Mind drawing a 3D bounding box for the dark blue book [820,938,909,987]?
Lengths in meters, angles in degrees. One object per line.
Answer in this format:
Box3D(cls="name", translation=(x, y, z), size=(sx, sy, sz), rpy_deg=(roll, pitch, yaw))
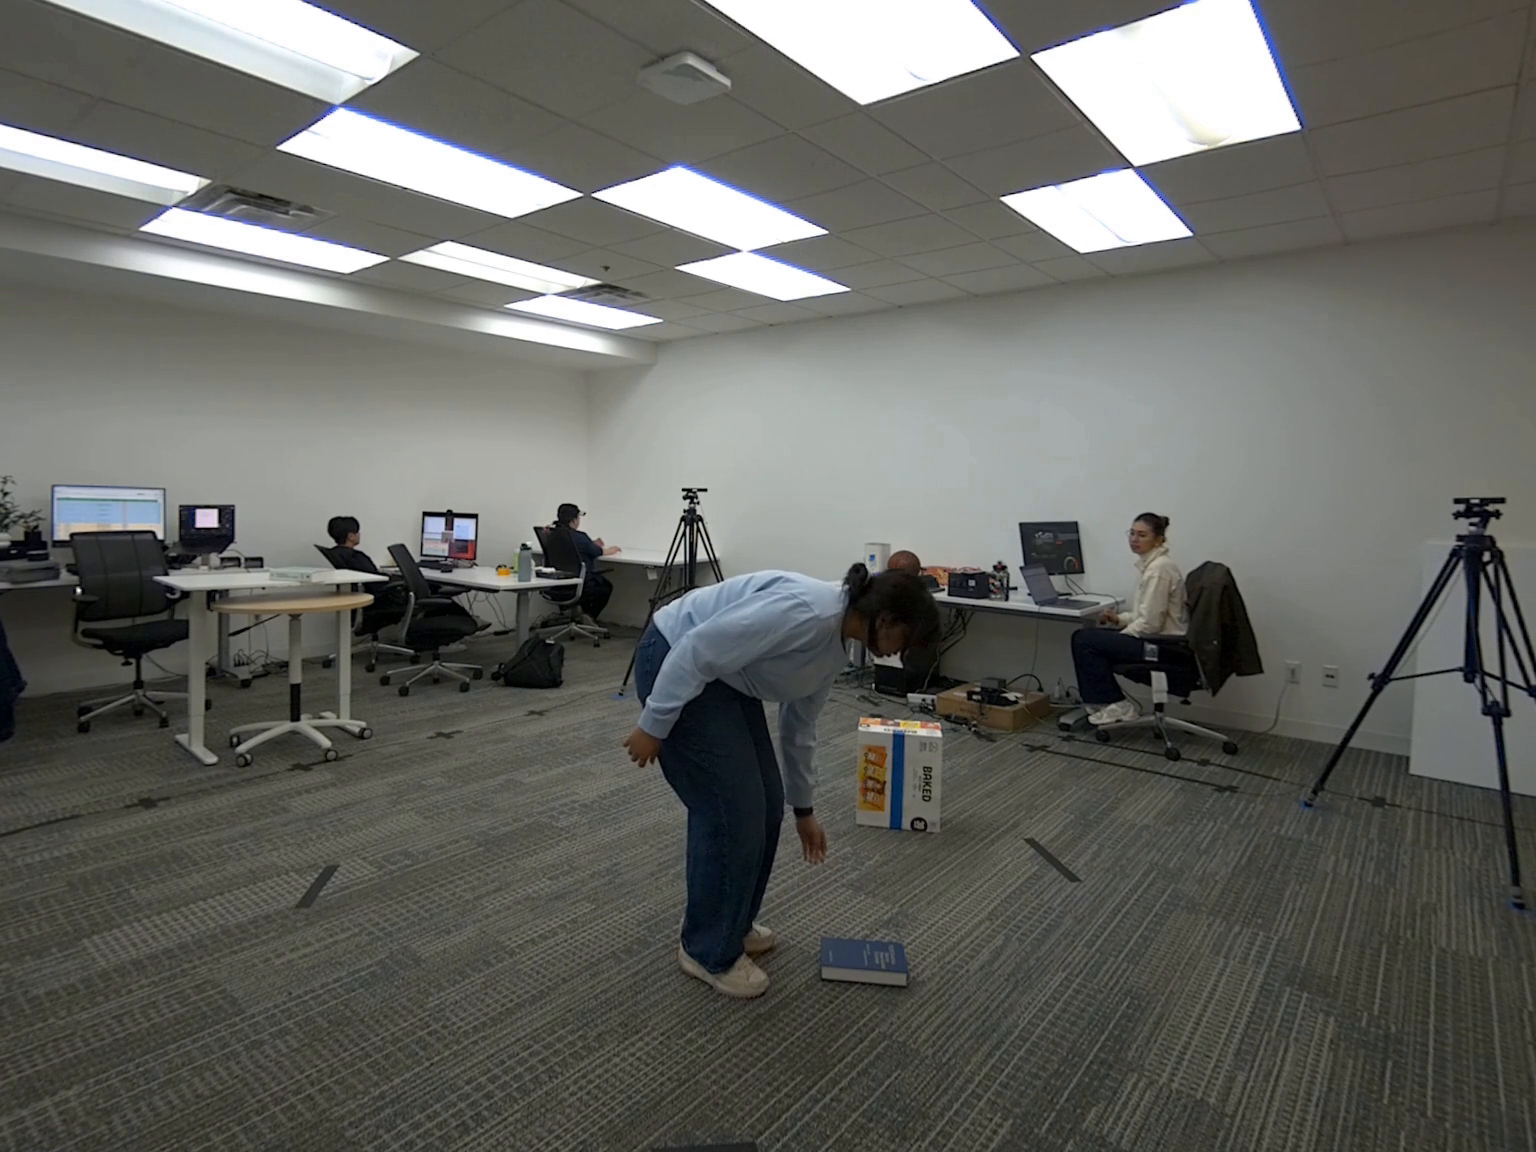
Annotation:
Box3D(cls="dark blue book", translation=(0.271, 1.121, 2.473), size=(0.247, 0.045, 0.163), rpy_deg=(2, 6, 6))
